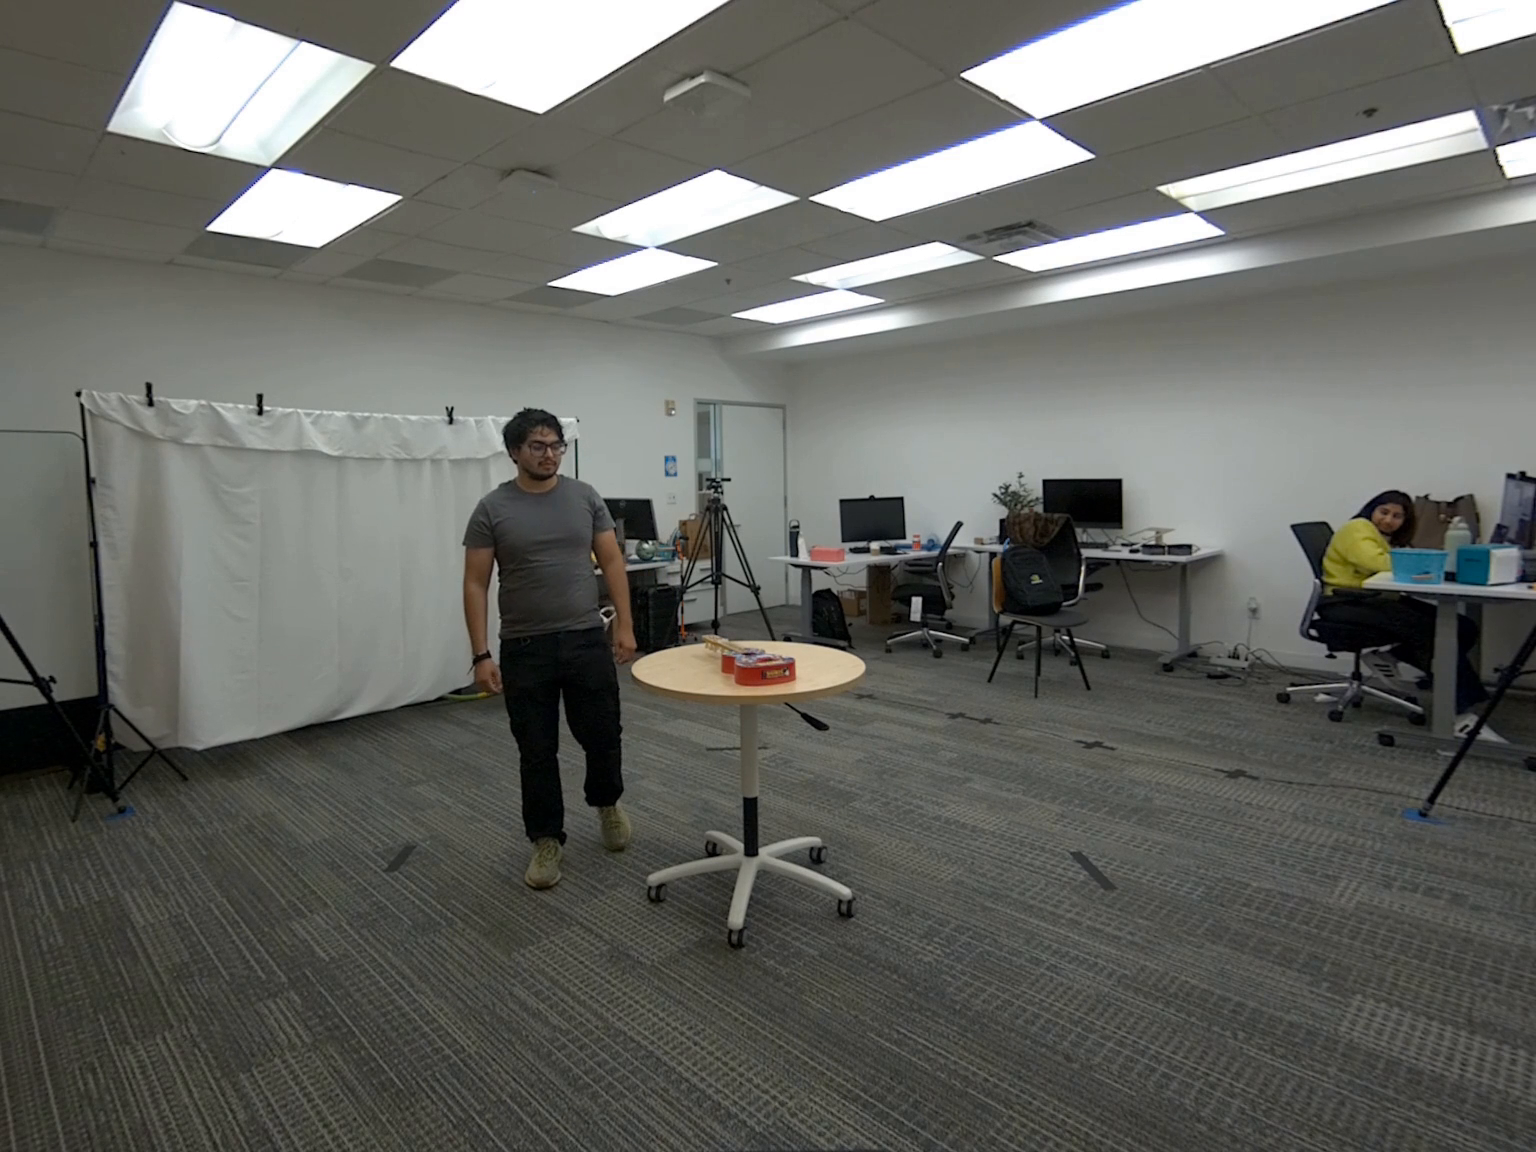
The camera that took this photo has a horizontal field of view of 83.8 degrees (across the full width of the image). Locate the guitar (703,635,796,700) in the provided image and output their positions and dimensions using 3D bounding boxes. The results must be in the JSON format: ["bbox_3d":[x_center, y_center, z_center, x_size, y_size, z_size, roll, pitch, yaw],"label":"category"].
[{"bbox_3d":[-0.061,0.267,2.770,0.190,0.070,0.508,-4,8,-17],"label":"guitar"}]
